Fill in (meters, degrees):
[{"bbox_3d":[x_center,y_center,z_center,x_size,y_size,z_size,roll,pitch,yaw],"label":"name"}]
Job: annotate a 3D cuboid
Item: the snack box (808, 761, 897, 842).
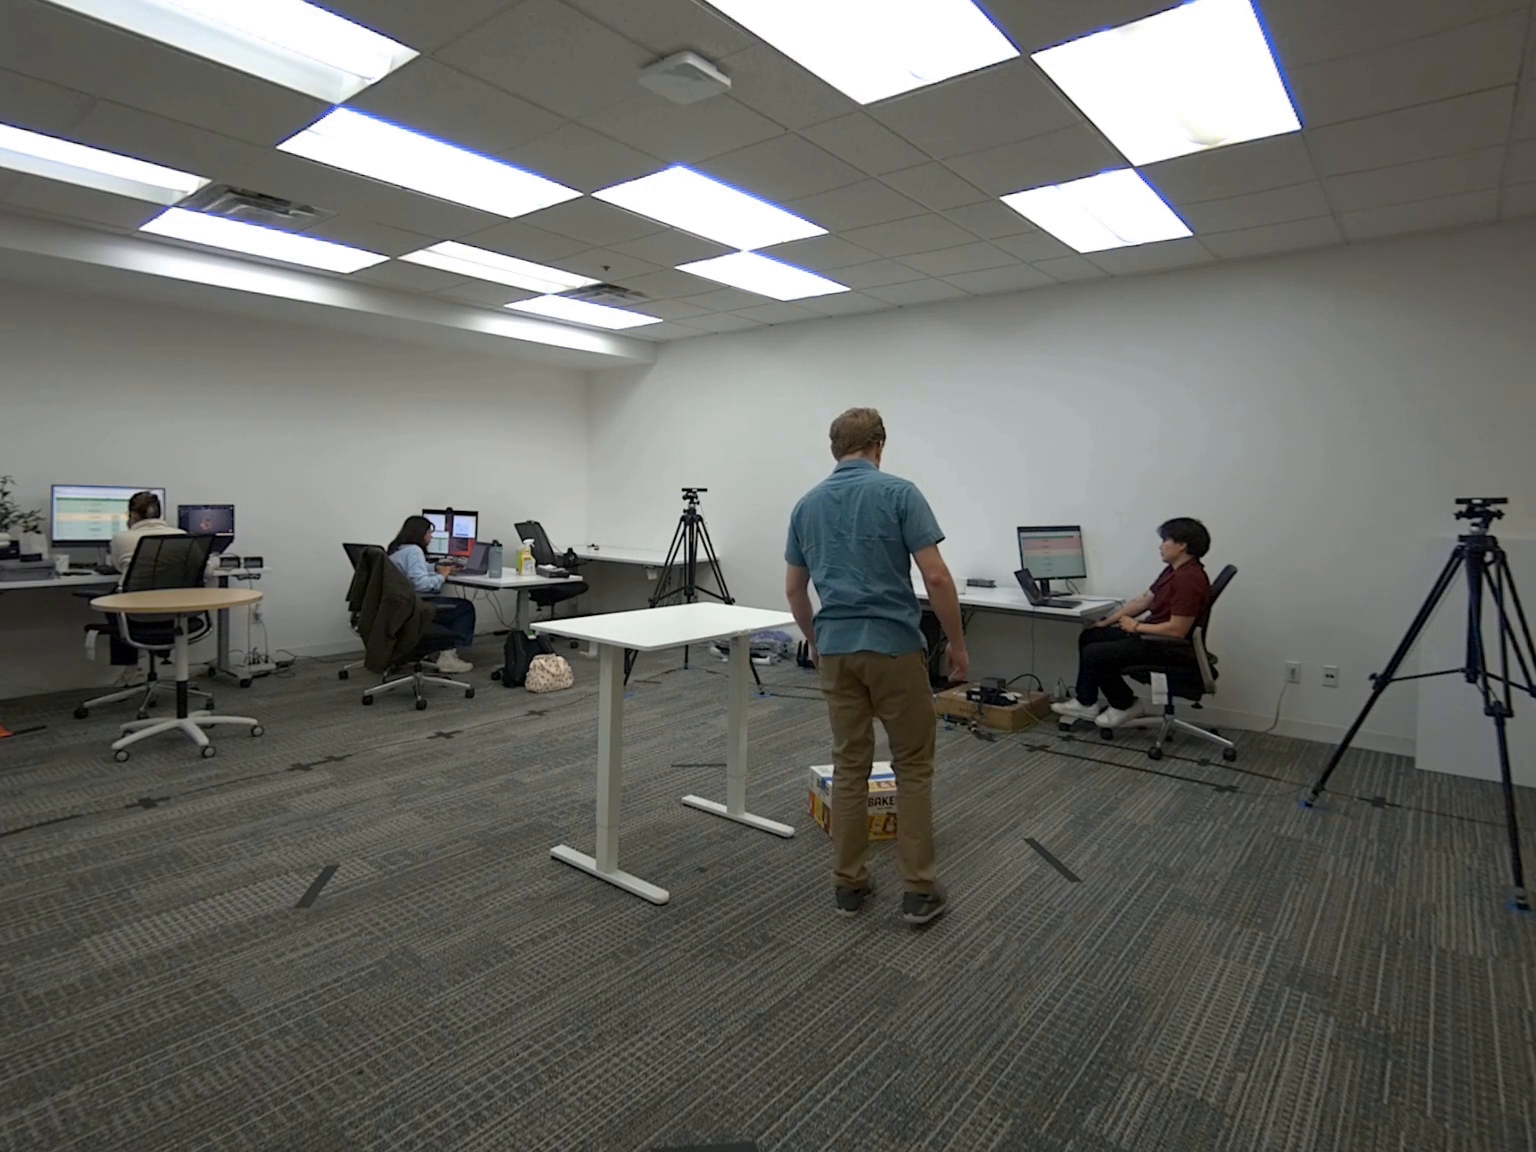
[{"bbox_3d":[0.410,0.938,3.568,0.399,0.205,0.347,0,5,-16],"label":"snack box"}]
